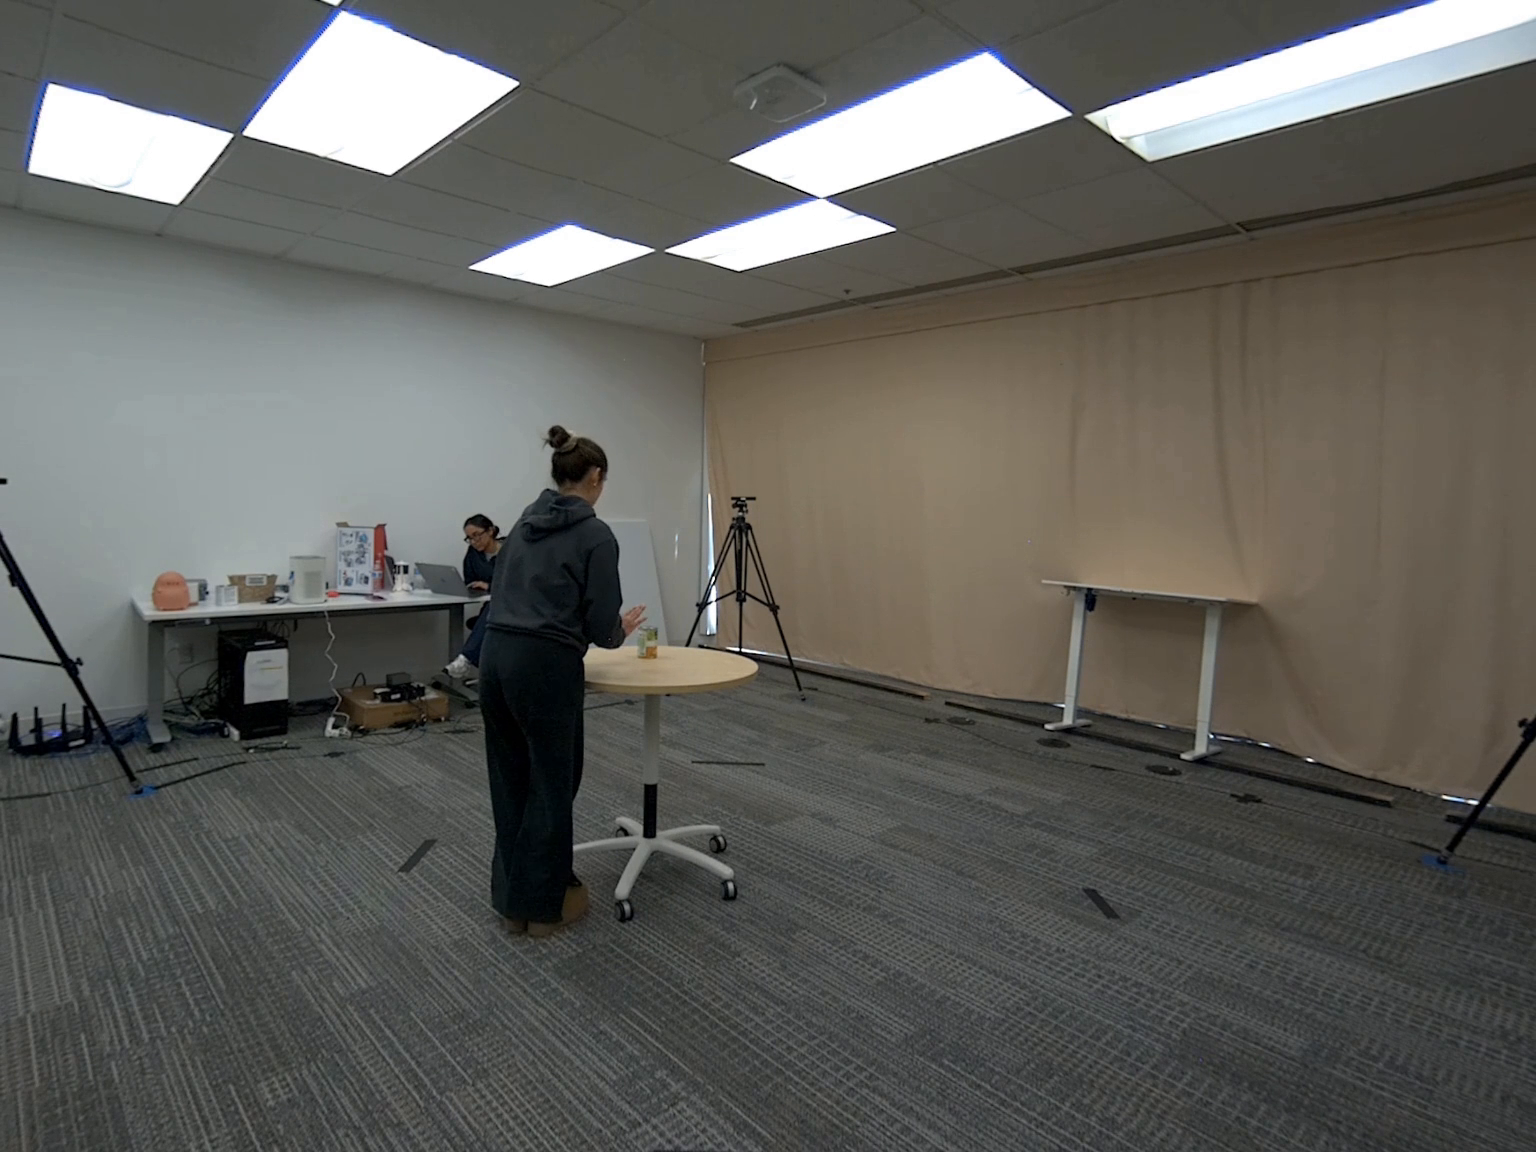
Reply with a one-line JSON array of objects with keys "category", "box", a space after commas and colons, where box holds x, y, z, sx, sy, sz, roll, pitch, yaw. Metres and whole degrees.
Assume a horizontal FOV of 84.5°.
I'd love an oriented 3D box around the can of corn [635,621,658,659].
[{"category": "can of corn", "box": [-0.469, 0.254, 3.196, 0.074, 0.110, 0.074, -1, 5, -1]}]
